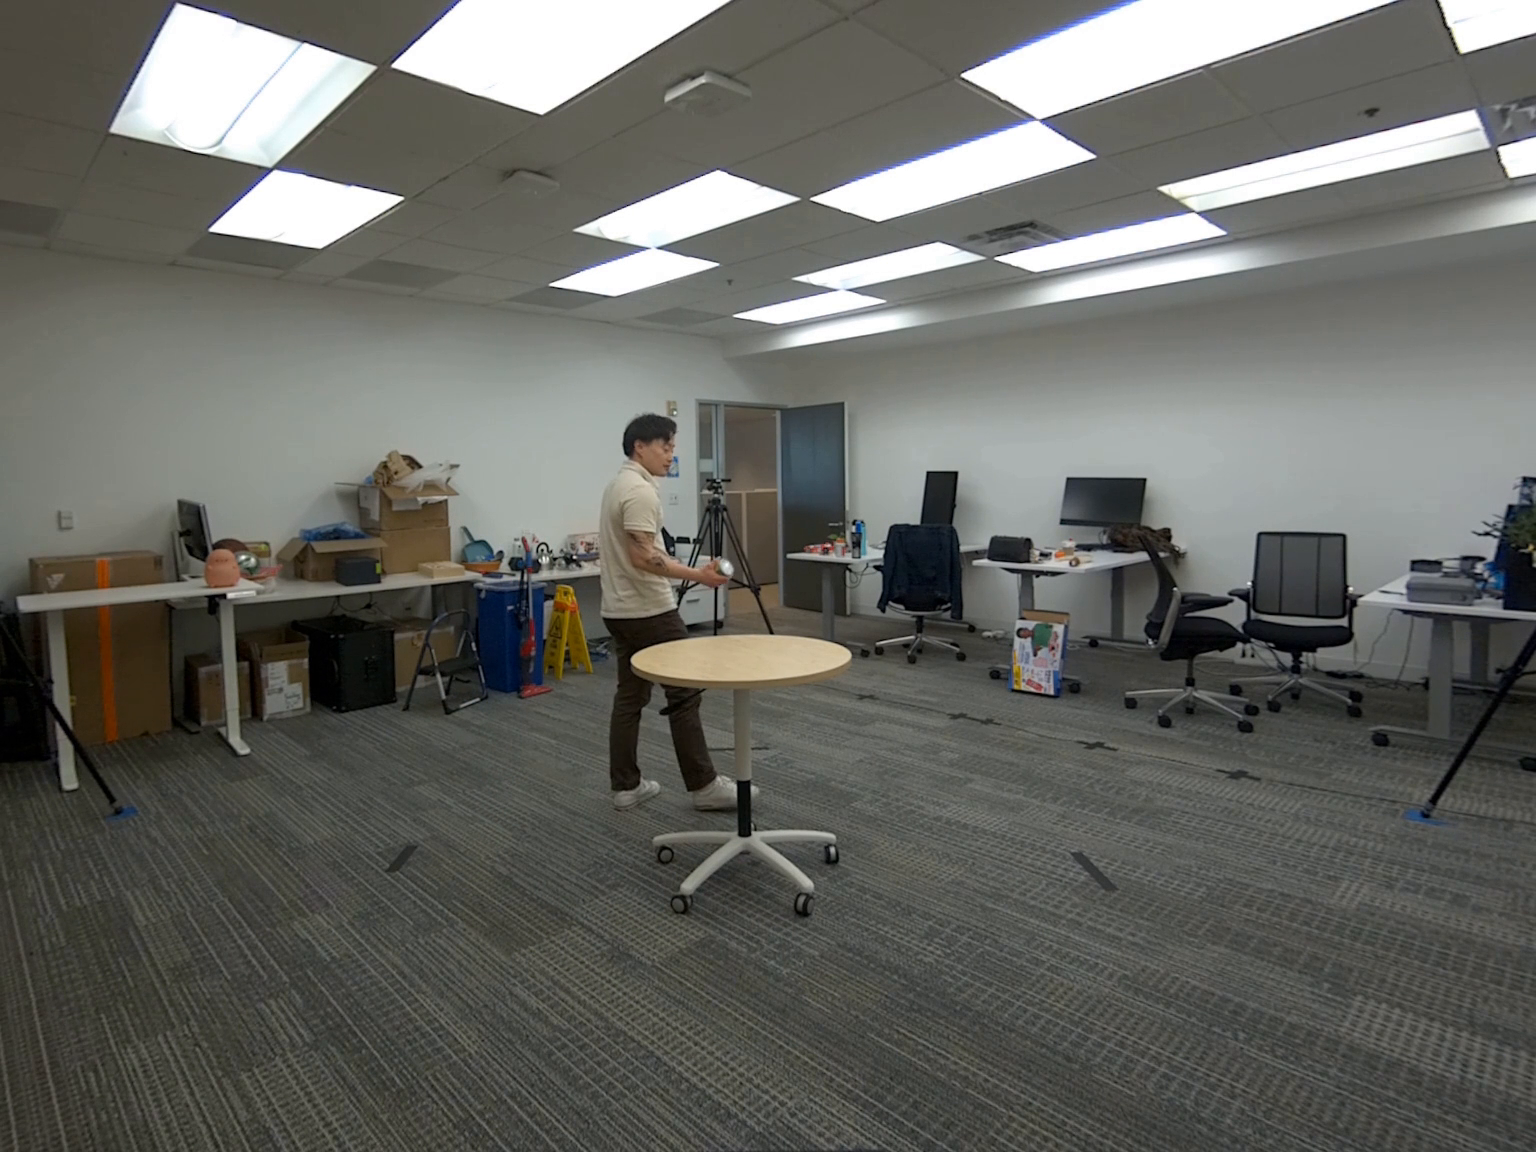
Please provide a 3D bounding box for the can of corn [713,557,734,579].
[{"bbox_3d":[-0.194,-0.023,3.484,0.072,0.075,0.112,-6,-18,-46],"label":"can of corn"}]
